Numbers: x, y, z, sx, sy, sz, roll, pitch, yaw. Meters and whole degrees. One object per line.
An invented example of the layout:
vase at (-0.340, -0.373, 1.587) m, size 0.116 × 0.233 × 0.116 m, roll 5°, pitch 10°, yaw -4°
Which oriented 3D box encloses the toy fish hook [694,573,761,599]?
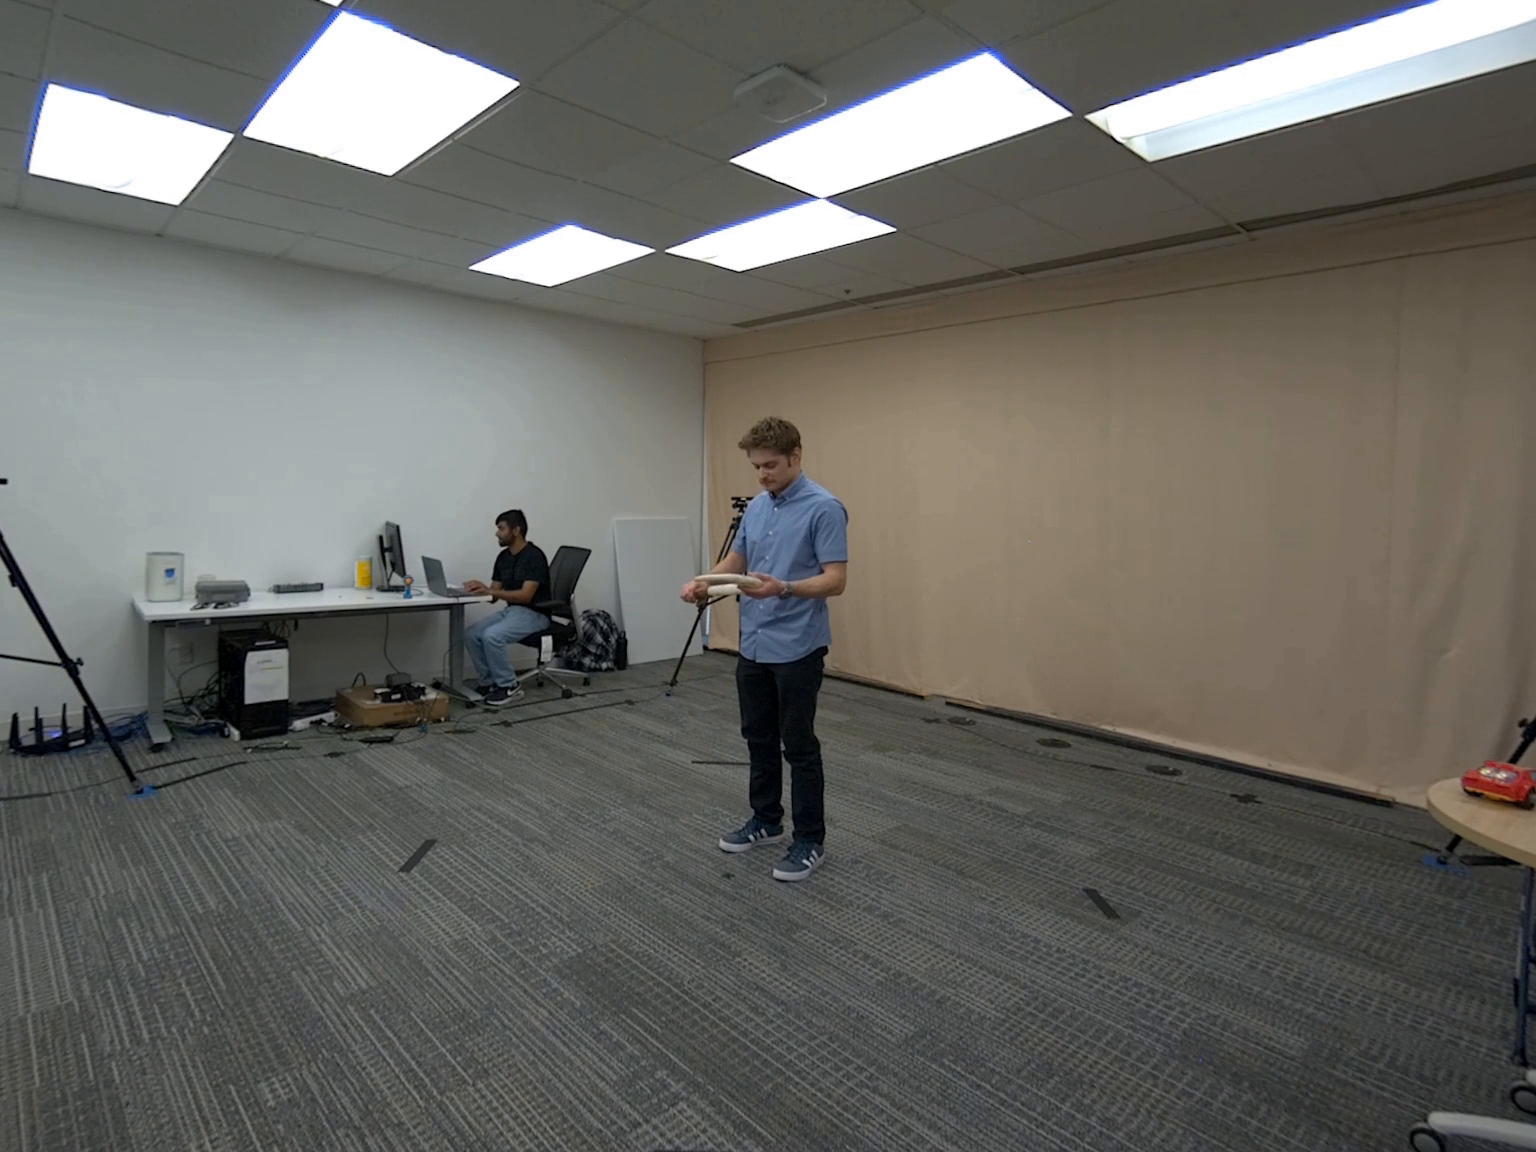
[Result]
toy fish hook at (-0.203, 0.039, 2.981) m, size 0.219 × 0.049 × 0.515 m, roll 18°, pitch -17°, yaw -33°
